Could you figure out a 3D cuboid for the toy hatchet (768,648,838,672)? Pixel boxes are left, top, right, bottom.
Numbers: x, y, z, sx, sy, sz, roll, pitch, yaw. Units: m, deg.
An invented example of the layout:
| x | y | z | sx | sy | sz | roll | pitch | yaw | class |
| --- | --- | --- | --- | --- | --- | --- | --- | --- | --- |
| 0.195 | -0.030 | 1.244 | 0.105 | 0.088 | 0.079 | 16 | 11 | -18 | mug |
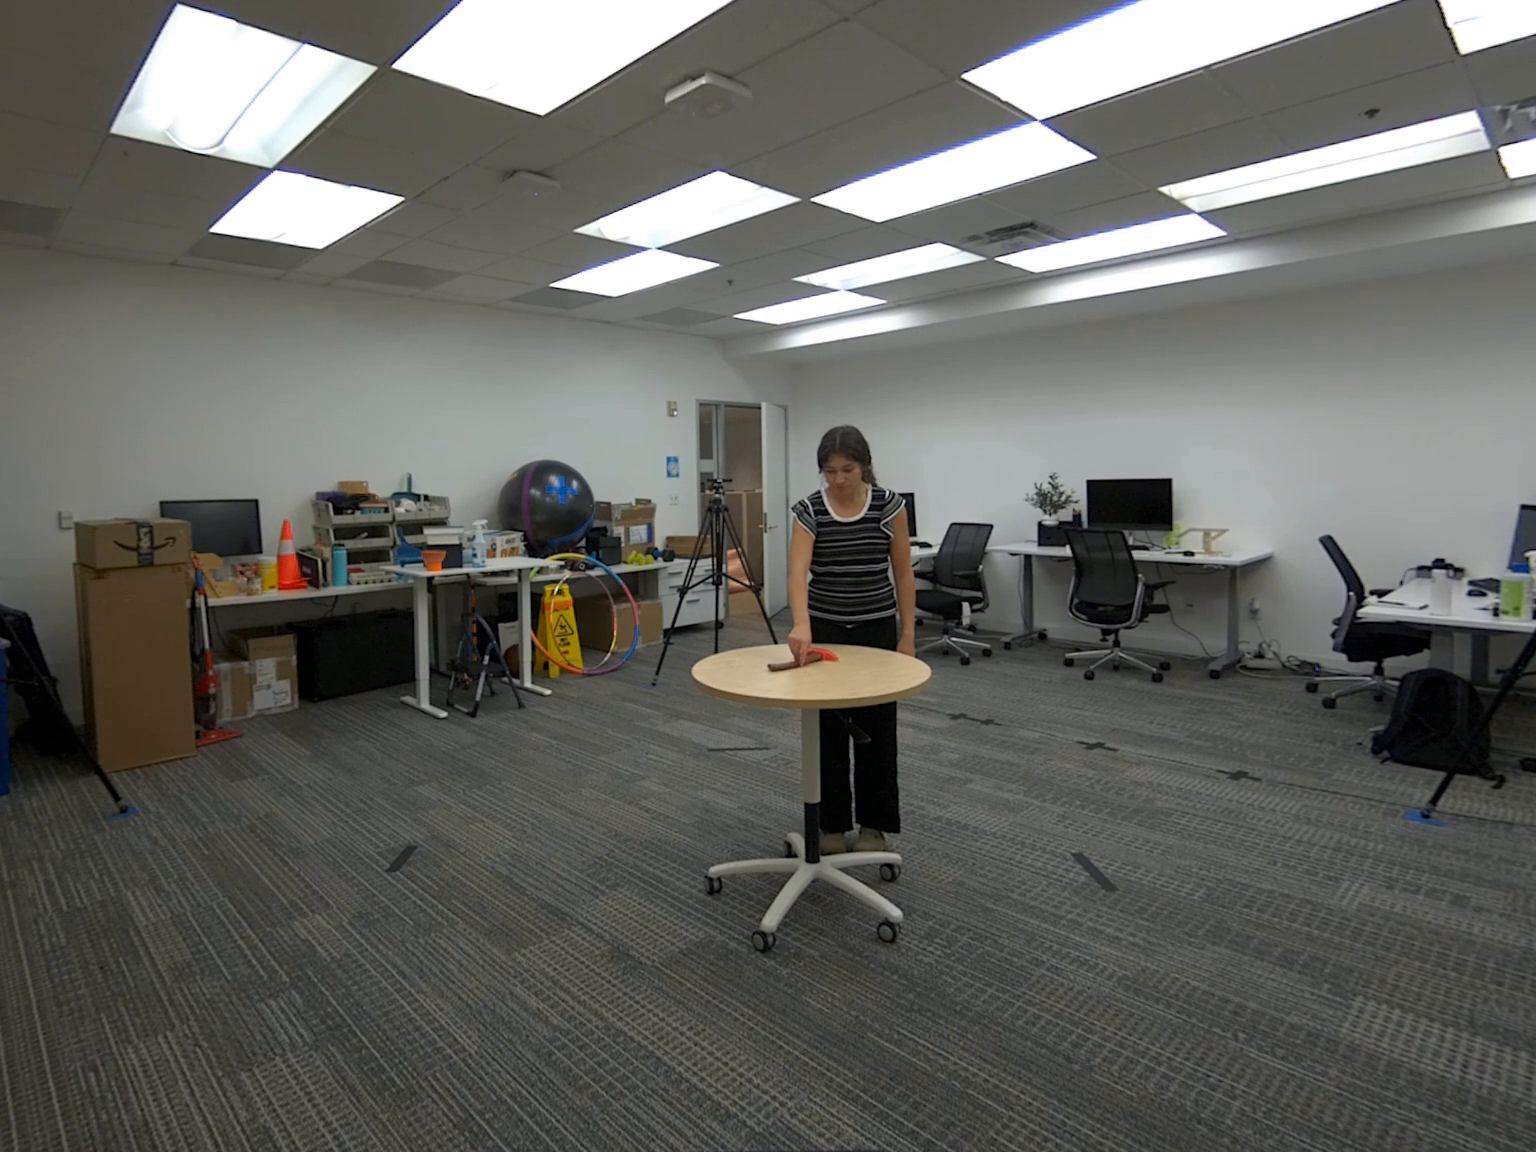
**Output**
| x | y | z | sx | sy | sz | roll | pitch | yaw | class |
| --- | --- | --- | --- | --- | --- | --- | --- | --- | --- |
| 0.104 | 0.275 | 2.822 | 0.264 | 0.029 | 0.135 | -5 | 16 | -30 | toy hatchet |
